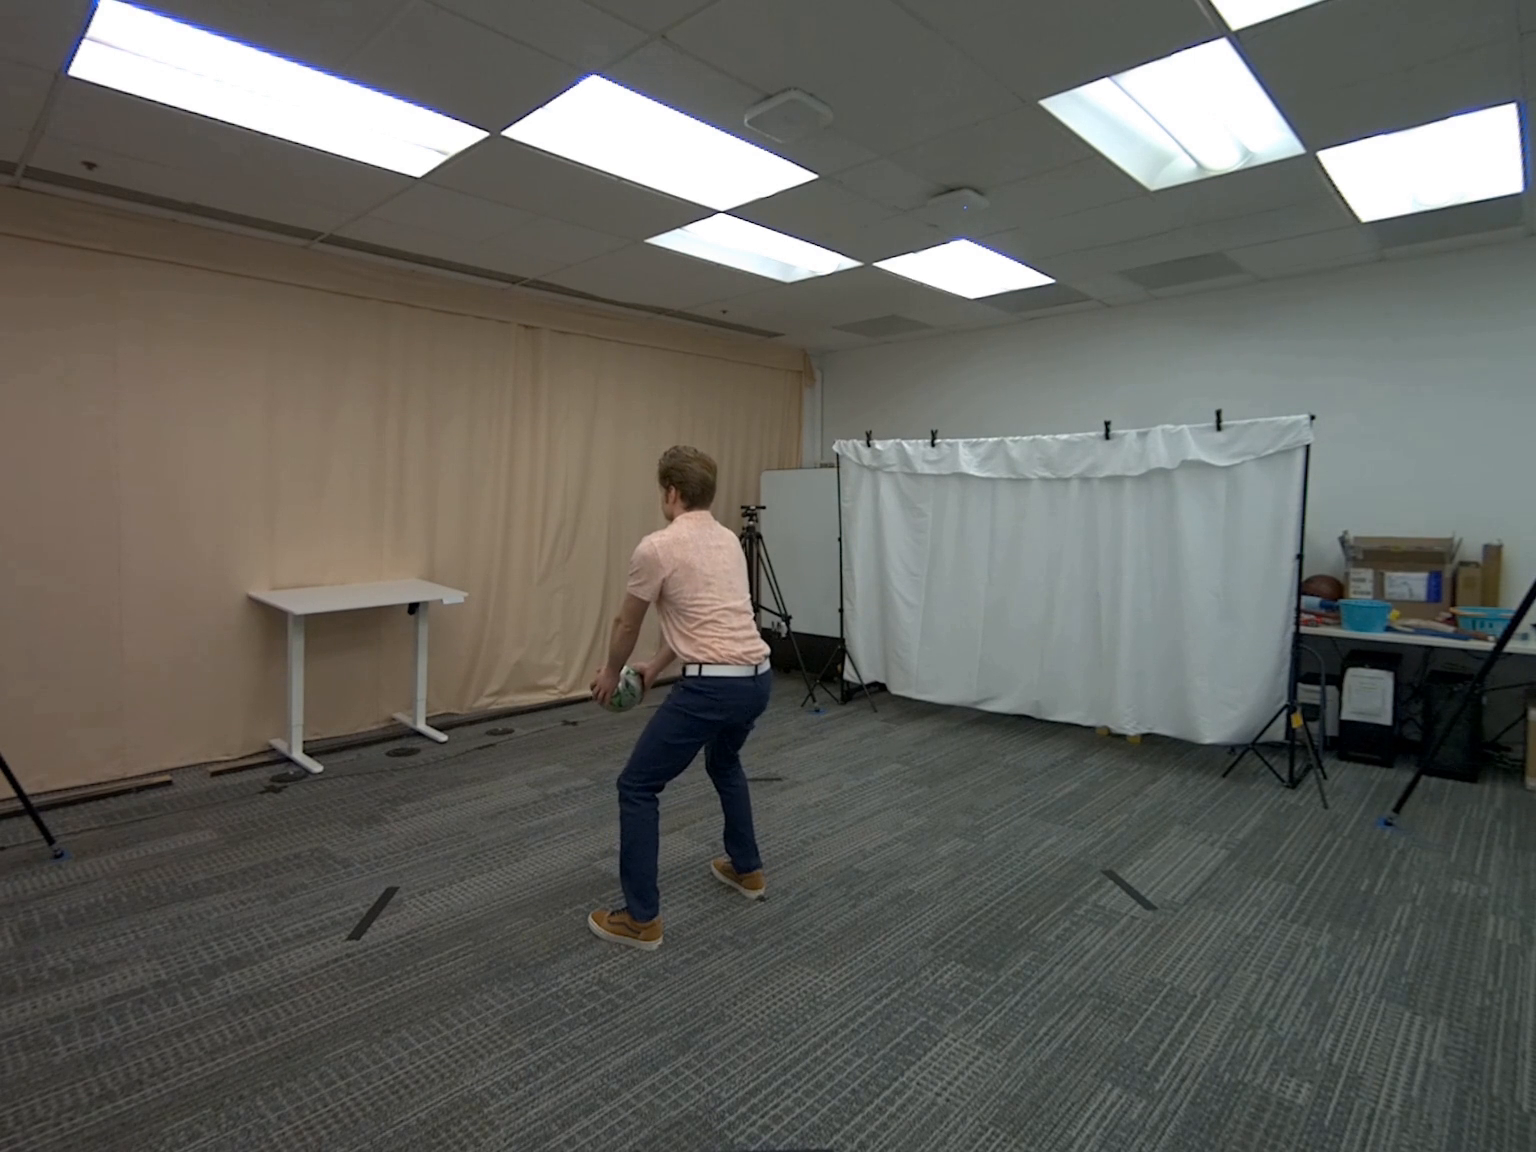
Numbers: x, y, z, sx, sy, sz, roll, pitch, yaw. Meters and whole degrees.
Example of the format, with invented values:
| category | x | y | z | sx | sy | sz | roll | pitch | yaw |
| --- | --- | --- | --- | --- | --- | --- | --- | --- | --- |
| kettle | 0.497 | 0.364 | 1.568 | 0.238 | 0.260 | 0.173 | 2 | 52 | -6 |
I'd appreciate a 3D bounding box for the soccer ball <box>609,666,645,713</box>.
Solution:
| category | x | y | z | sx | sy | sz | roll | pitch | yaw |
| --- | --- | --- | --- | --- | --- | --- | --- | --- | --- |
| soccer ball | -0.566 | 0.427 | 3.167 | 0.187 | 0.187 | 0.188 | 0 | 4 | -2 |
